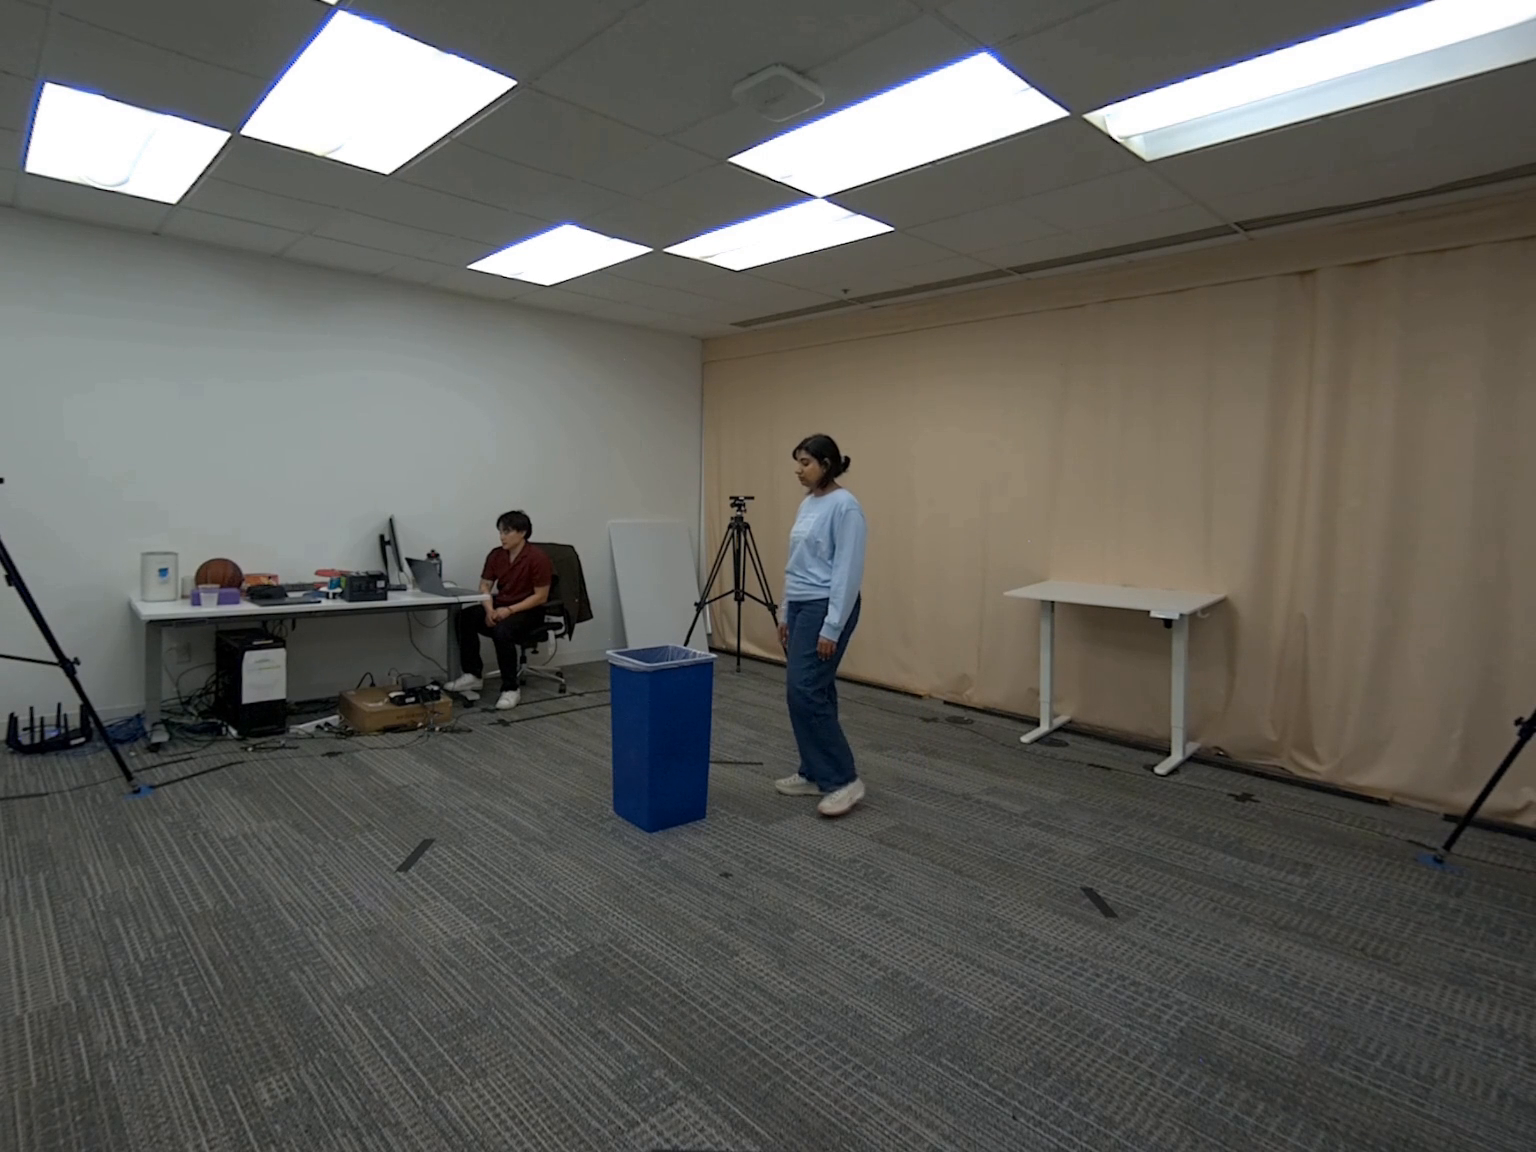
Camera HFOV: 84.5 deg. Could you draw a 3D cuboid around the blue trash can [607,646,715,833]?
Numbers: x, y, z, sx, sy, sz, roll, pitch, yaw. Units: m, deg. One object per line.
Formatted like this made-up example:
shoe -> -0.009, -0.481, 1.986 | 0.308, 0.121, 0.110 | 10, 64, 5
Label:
blue trash can -> -0.479, 0.691, 3.657 | 0.365, 0.712, 0.387 | -2, 4, -40
